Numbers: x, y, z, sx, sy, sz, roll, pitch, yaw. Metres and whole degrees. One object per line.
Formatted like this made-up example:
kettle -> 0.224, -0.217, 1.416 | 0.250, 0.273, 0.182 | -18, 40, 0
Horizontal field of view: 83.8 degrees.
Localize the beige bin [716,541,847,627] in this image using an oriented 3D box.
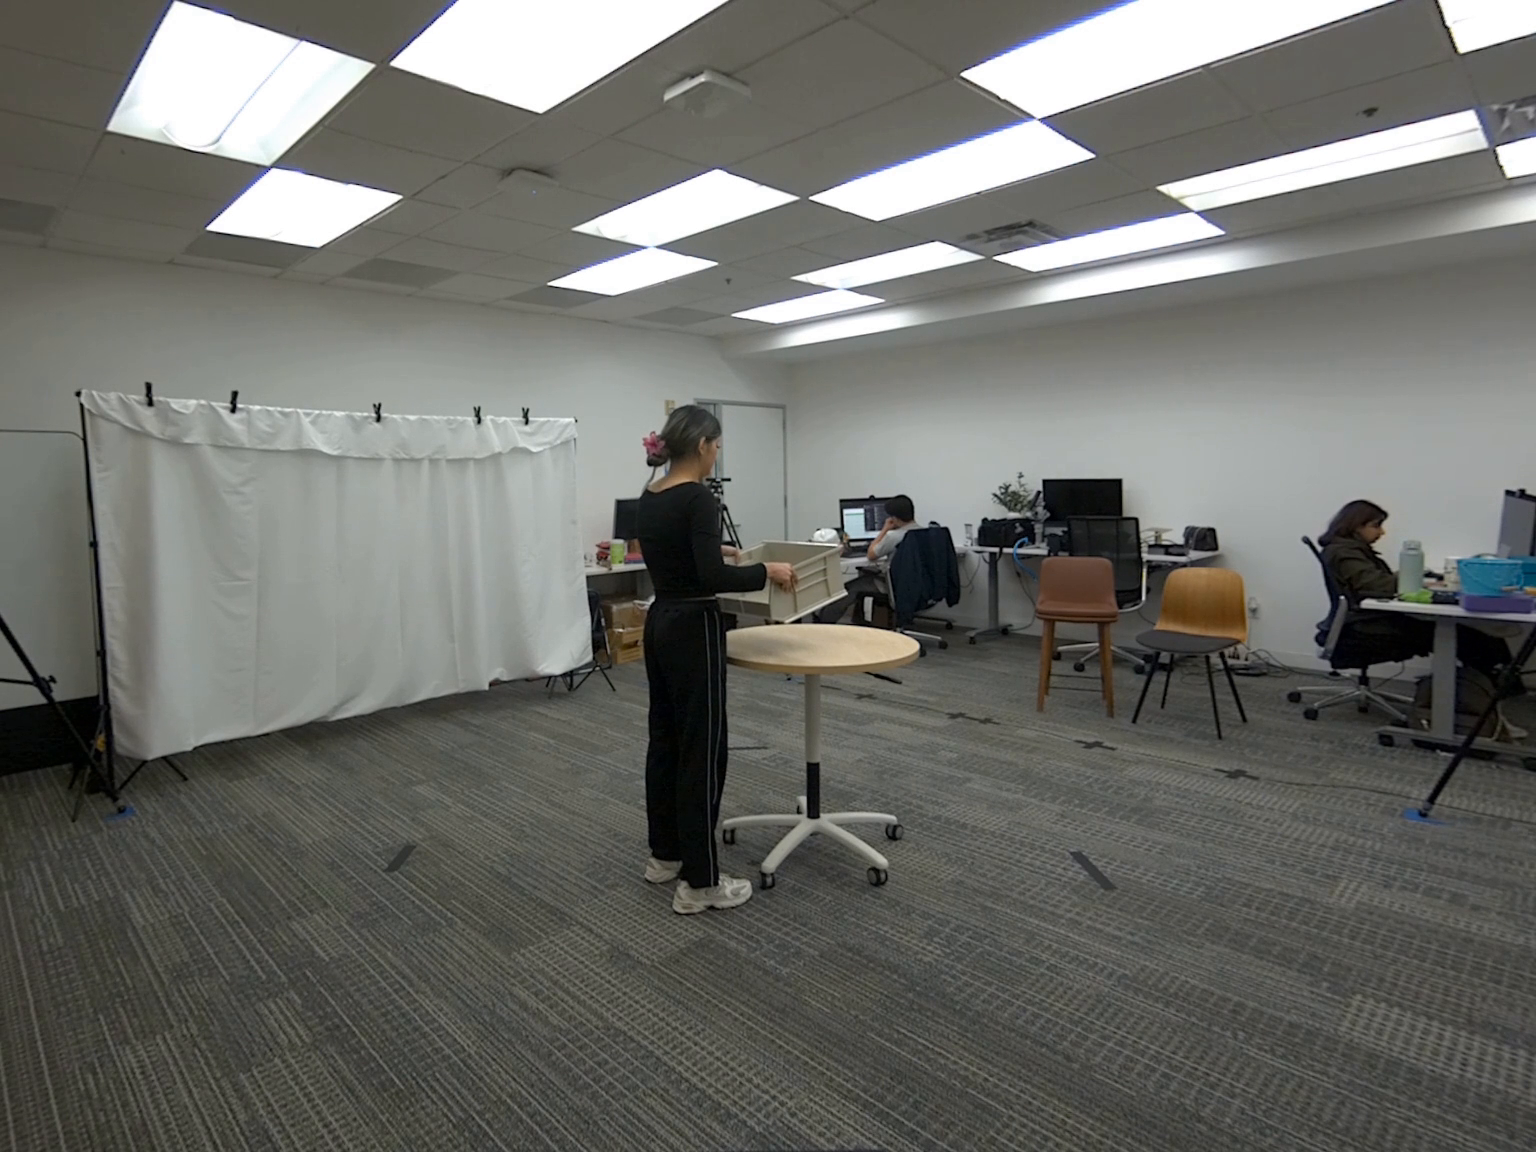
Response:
beige bin -> 0.005, 0.022, 3.079 | 0.371, 0.186, 0.435 | -21, 16, -36
